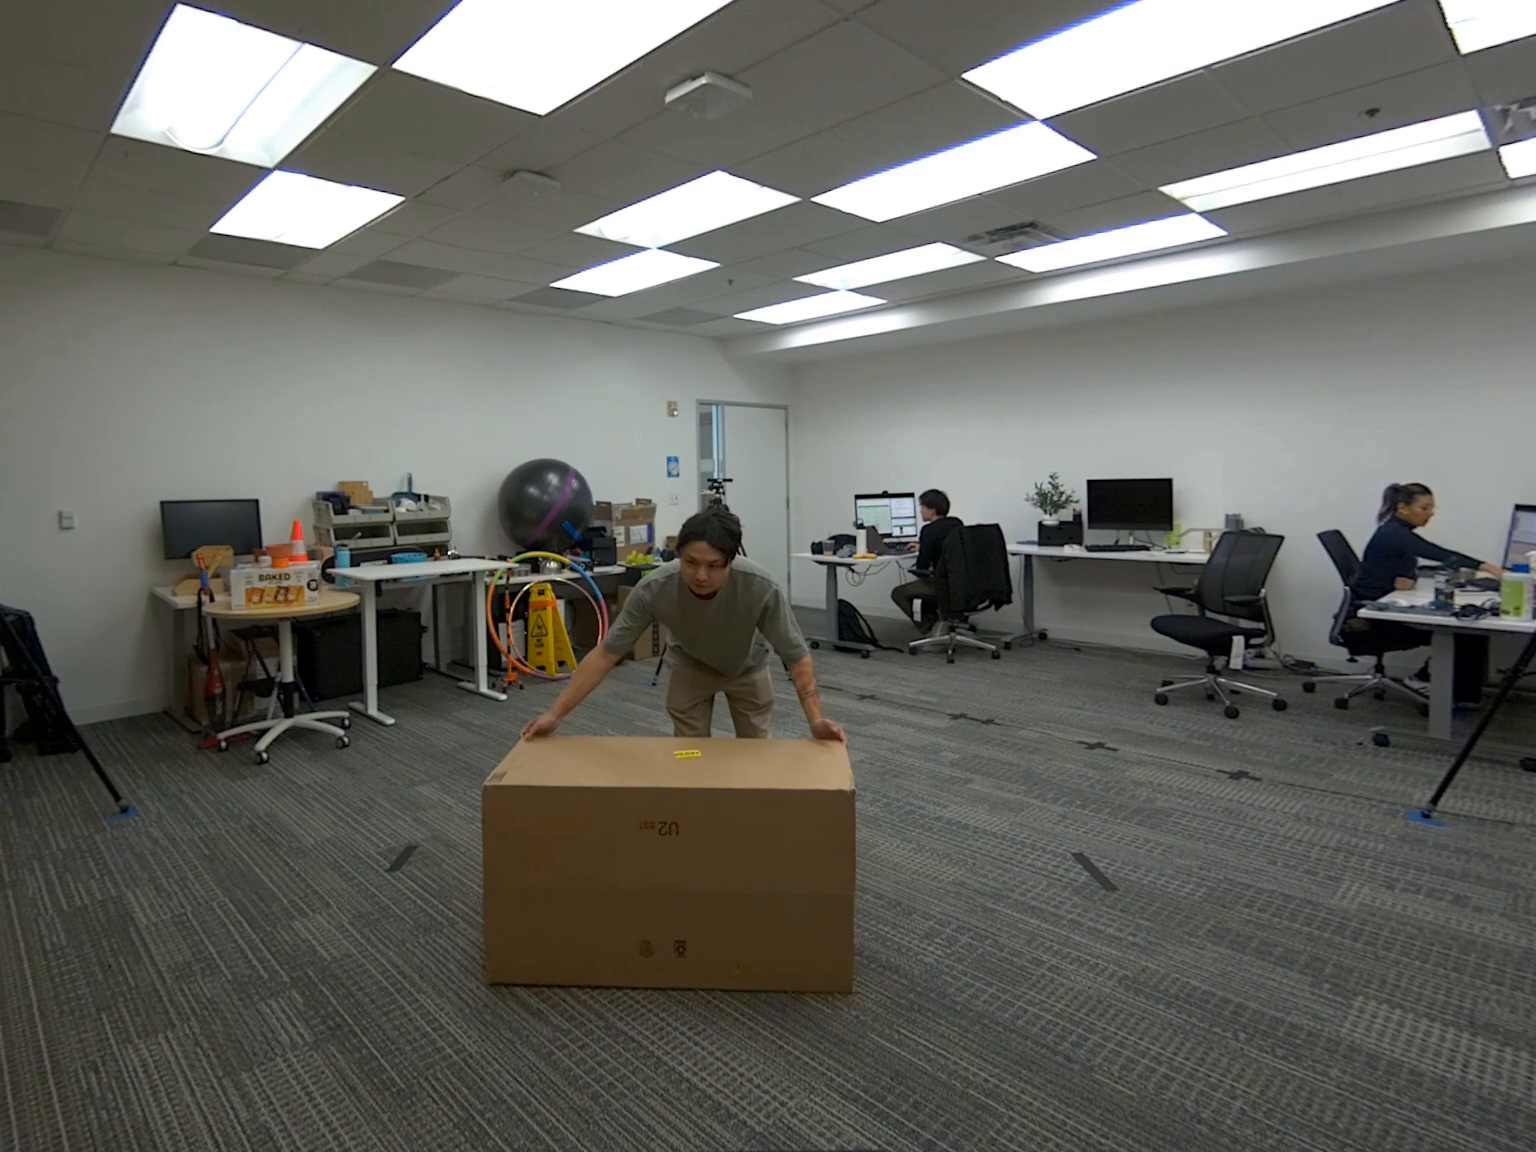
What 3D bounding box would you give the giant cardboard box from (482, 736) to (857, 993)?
[{"bbox_3d":[-0.269,0.814,2.528,1.029,0.575,0.427,0,5,3],"label":"giant cardboard box"}]
